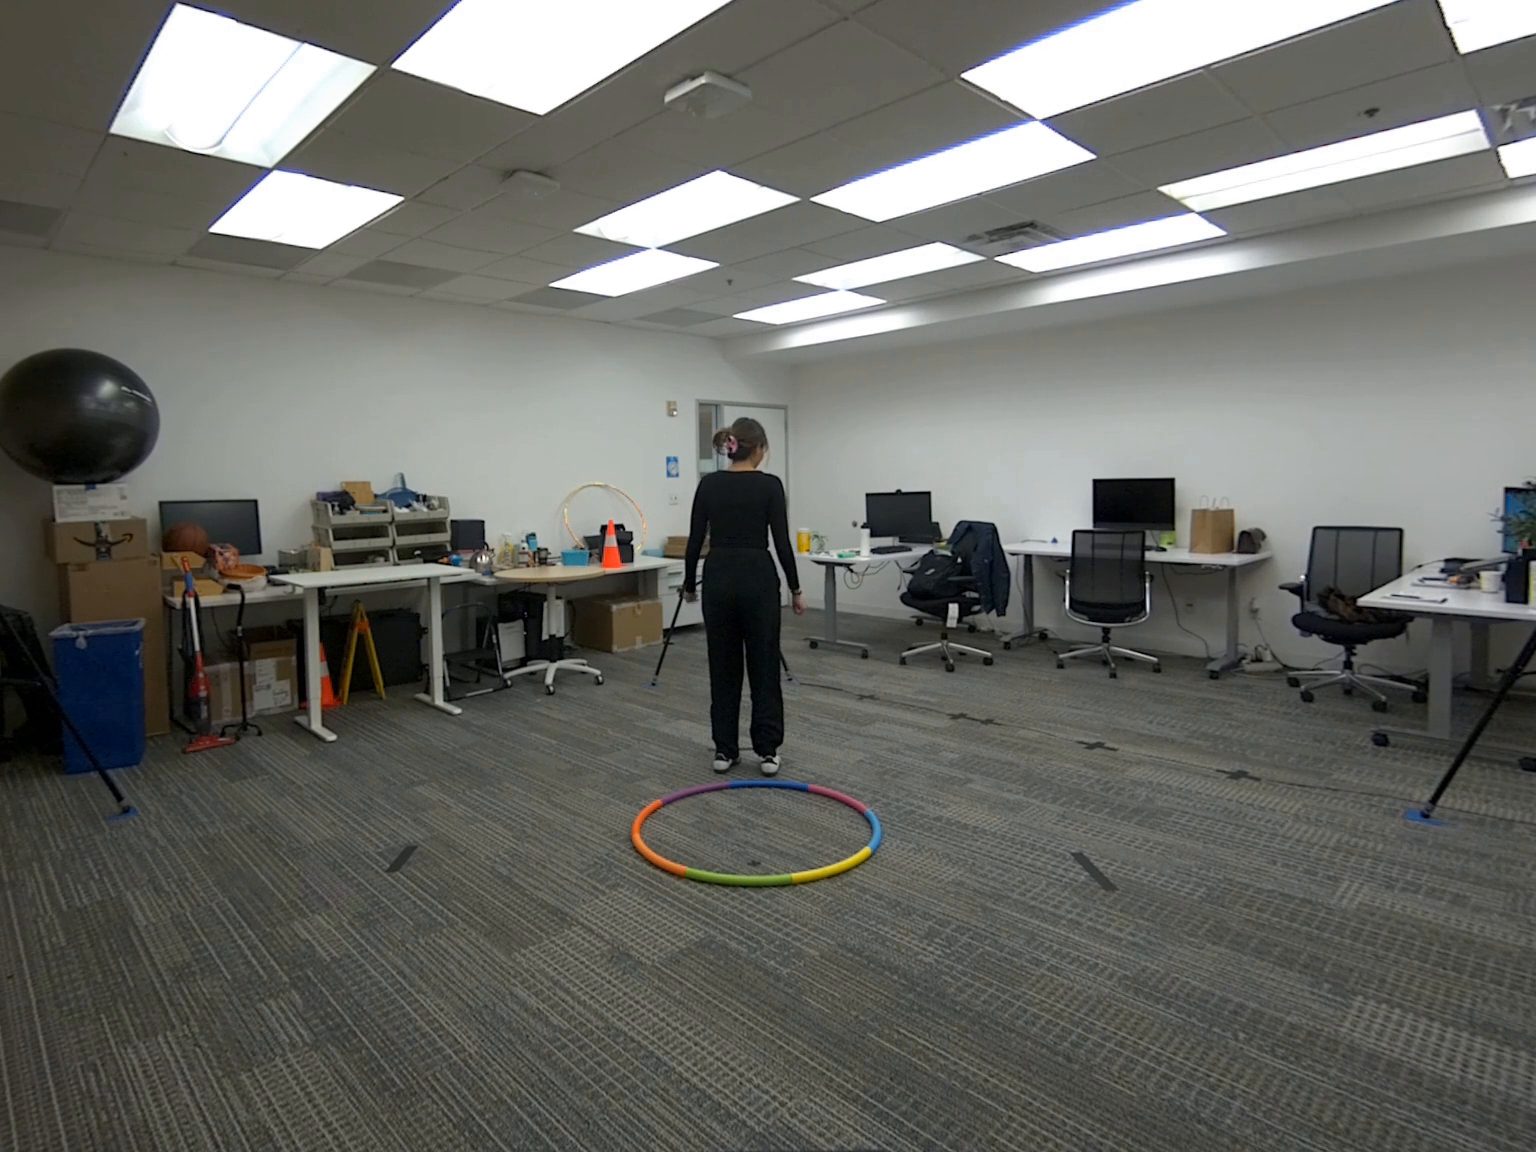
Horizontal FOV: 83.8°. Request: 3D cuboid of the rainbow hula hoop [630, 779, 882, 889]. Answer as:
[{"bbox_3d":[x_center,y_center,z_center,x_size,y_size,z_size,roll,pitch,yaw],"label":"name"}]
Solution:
[{"bbox_3d":[-0.045,0.981,3.403,0.978,0.035,0.984,-1,6,-2],"label":"rainbow hula hoop"}]
